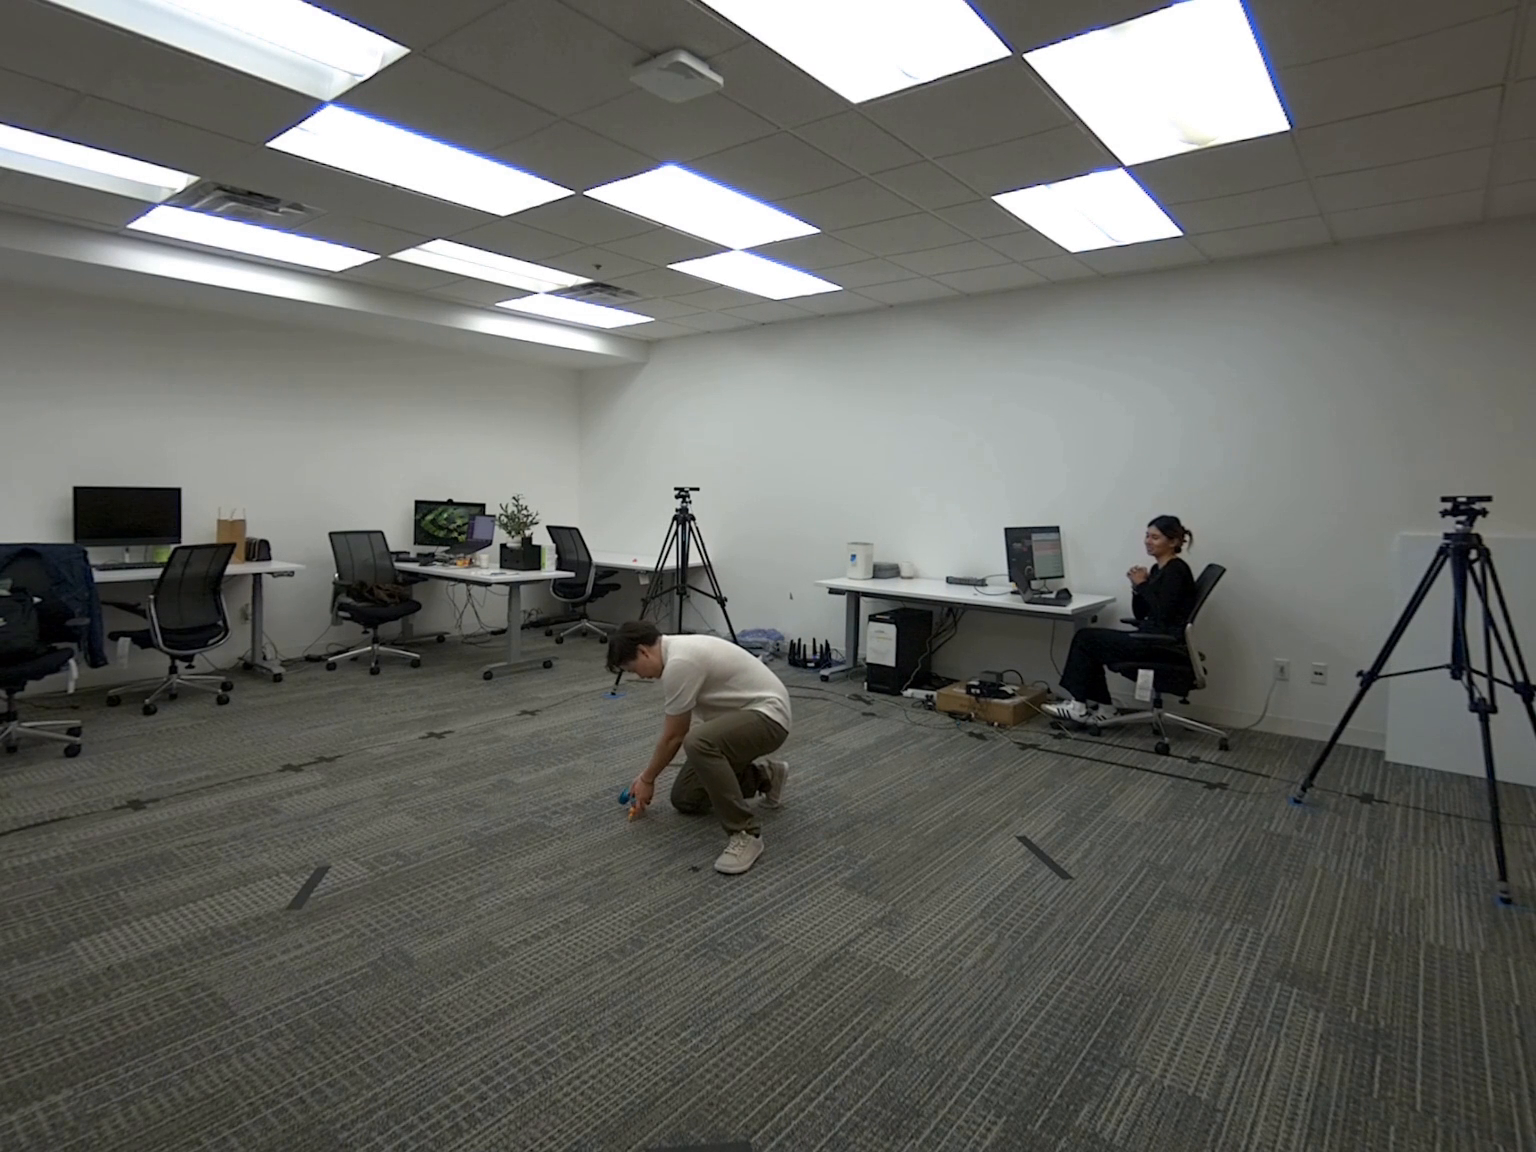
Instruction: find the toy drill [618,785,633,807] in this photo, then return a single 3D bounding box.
[{"bbox_3d":[-0.588,0.960,3.620,0.149,0.059,0.171,-15,33,38],"label":"toy drill"}]
